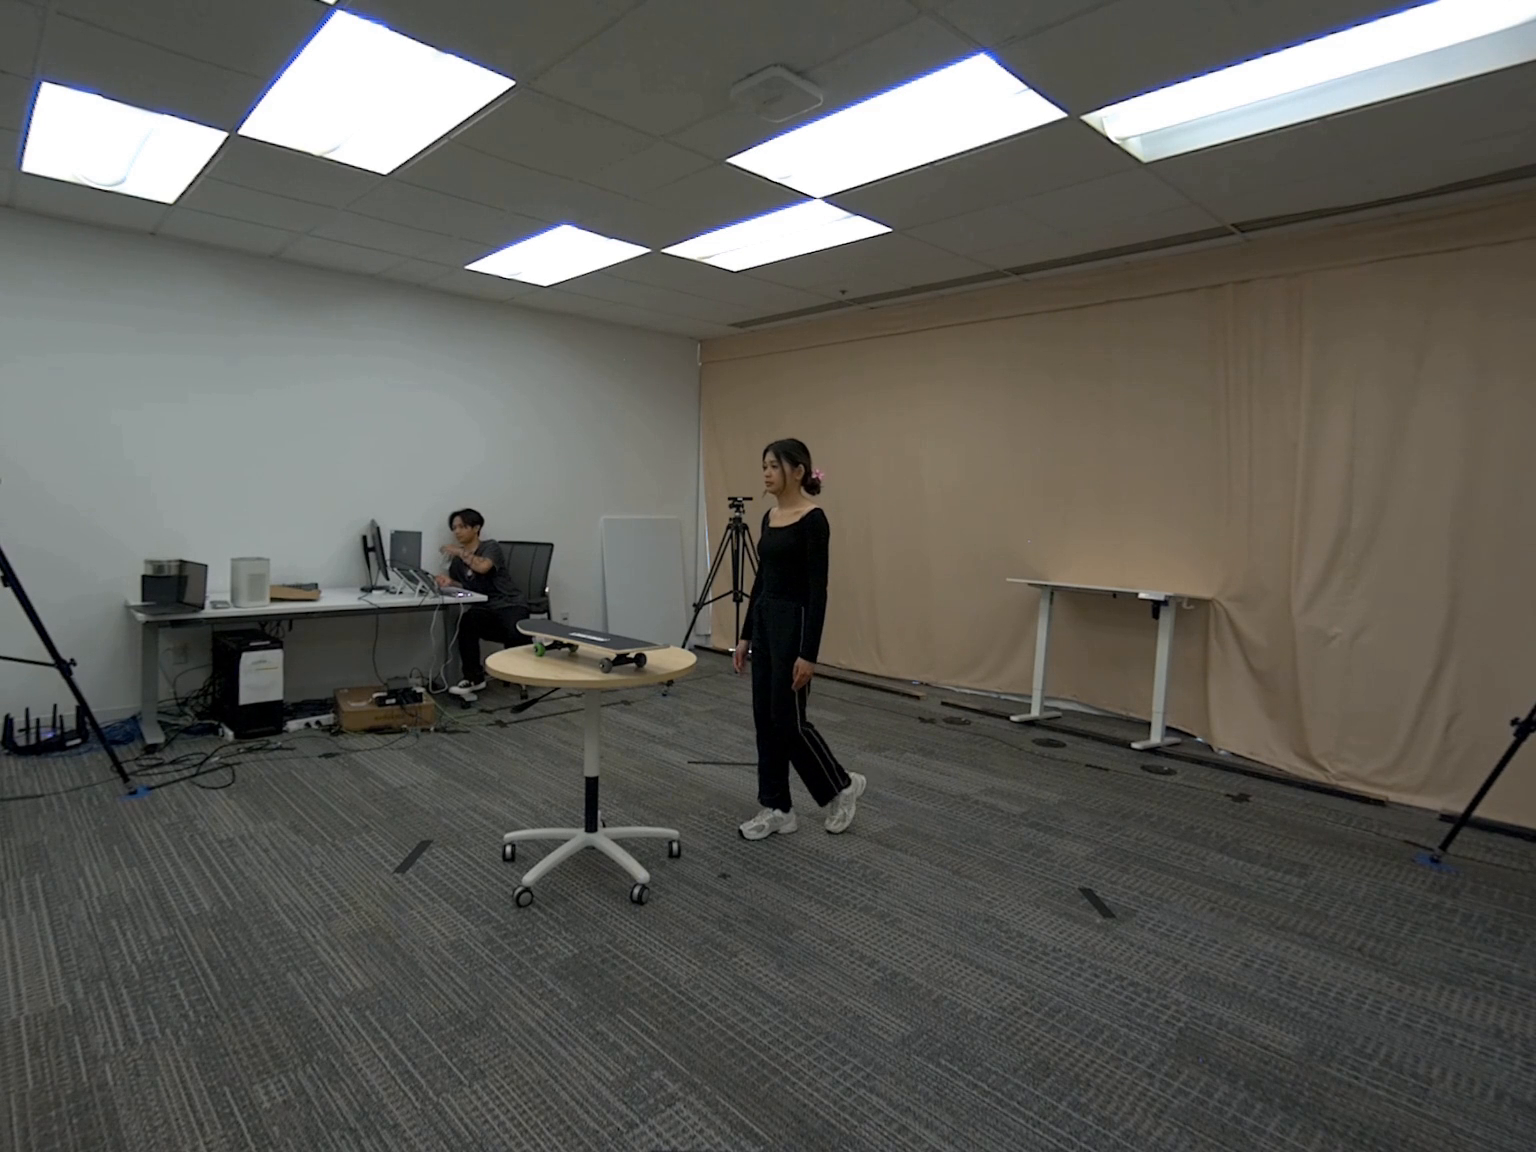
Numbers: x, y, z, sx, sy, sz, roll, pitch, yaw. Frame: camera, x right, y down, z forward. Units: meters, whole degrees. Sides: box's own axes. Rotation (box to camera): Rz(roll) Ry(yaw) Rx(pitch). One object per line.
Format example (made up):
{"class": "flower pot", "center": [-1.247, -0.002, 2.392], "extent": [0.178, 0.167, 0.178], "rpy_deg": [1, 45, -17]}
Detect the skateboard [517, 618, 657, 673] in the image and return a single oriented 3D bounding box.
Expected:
{"class": "skateboard", "center": [-0.660, 0.262, 3.037], "extent": [0.806, 0.110, 0.189], "rpy_deg": [6, 8, 42]}
